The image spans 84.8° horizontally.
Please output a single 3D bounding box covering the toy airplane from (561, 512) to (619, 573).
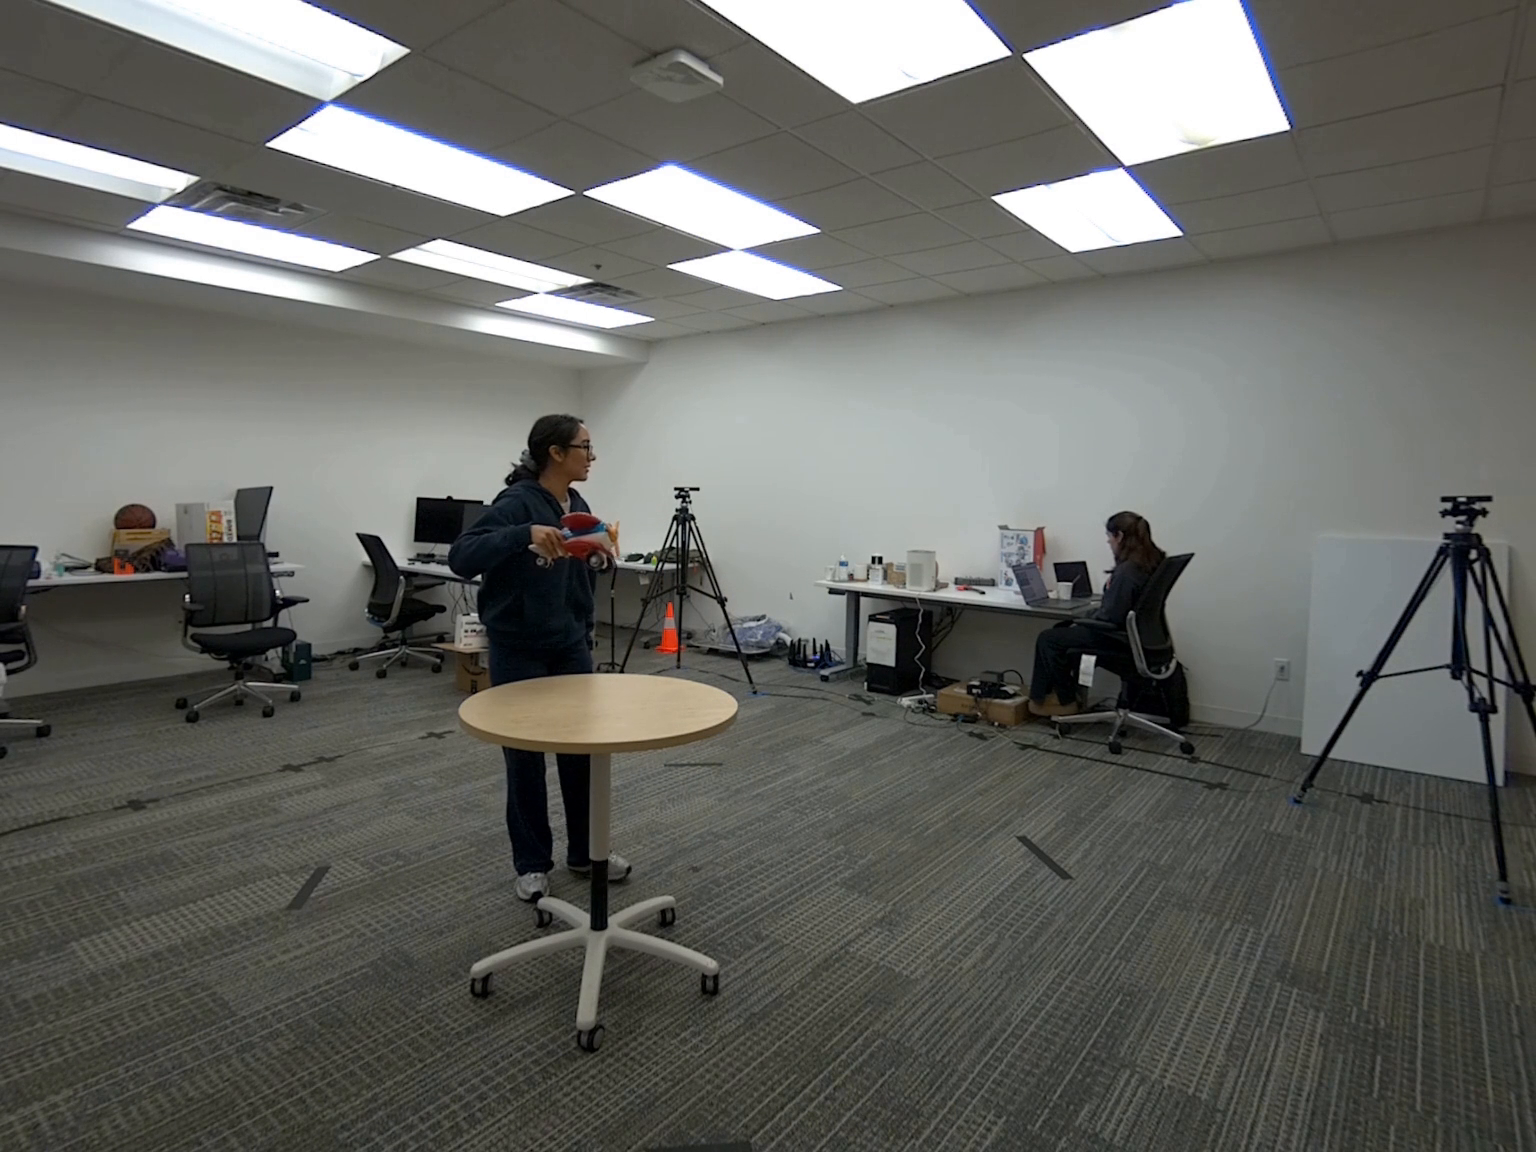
[{"bbox_3d":[-0.597,-0.099,2.488,0.255,0.158,0.253,11,-11,-15],"label":"toy airplane"}]
